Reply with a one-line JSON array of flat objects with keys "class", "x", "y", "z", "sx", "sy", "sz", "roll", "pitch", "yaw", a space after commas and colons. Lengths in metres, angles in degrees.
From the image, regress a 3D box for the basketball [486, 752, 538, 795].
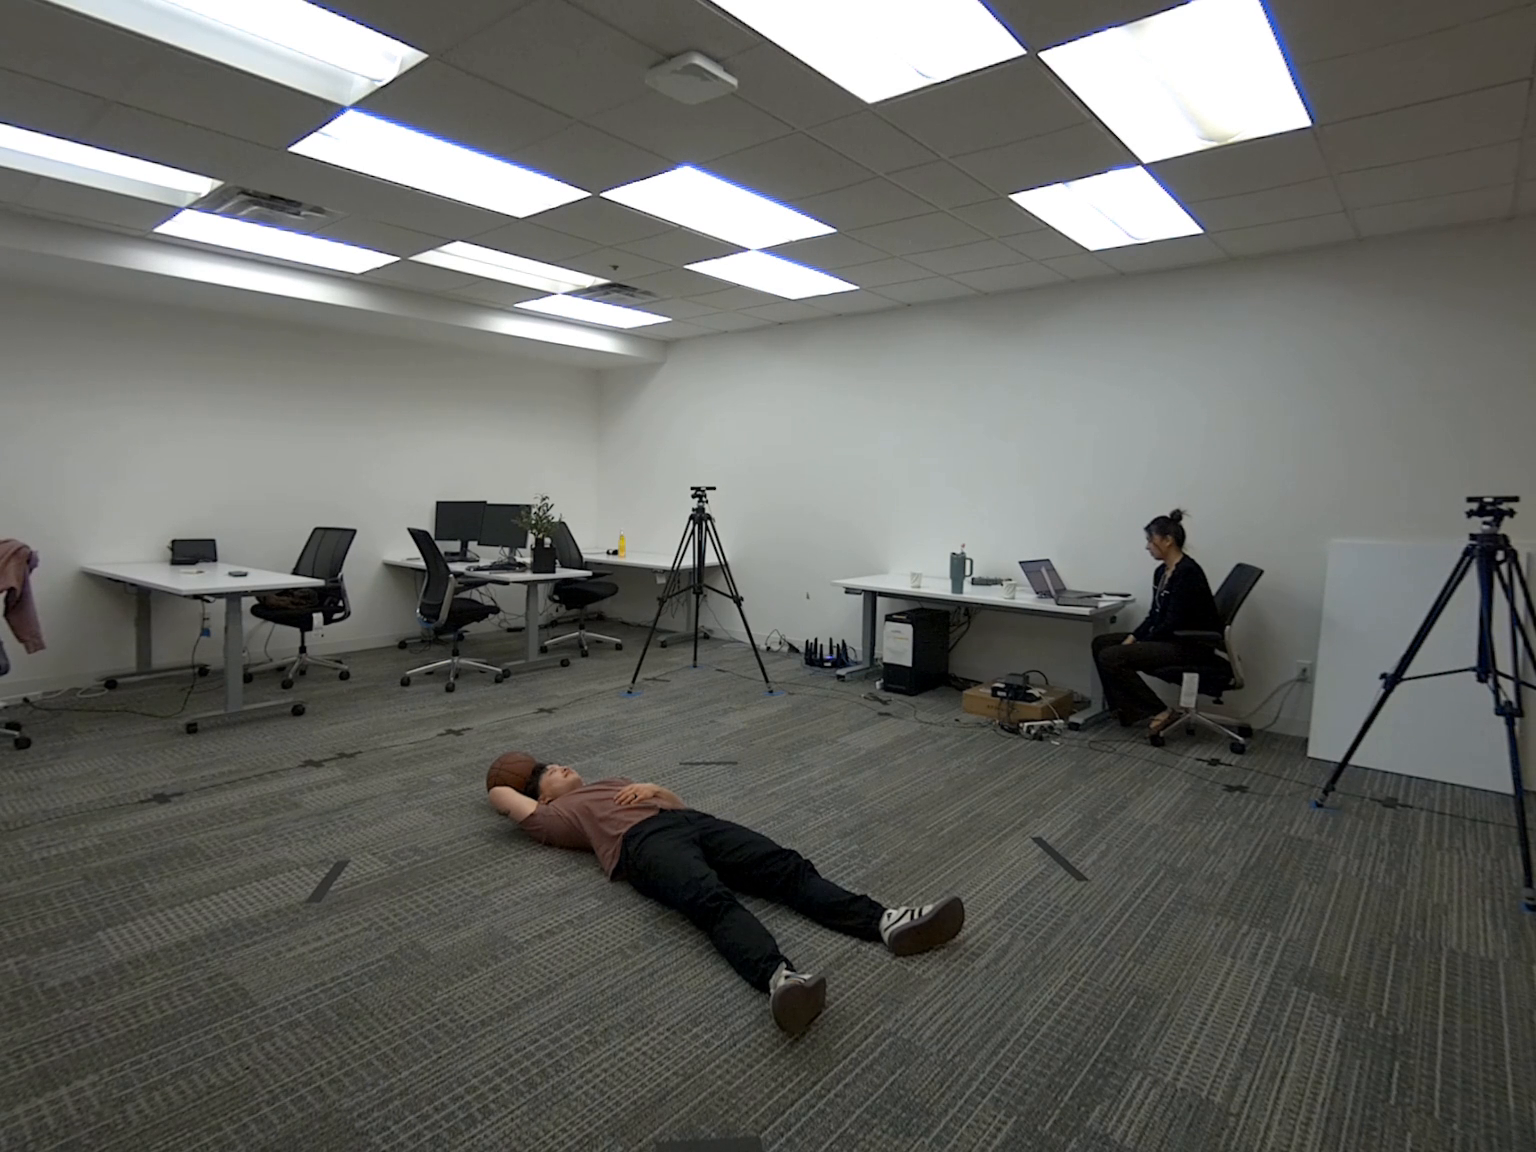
[{"class": "basketball", "x": -1.106, "y": 0.871, "z": 3.666, "sx": 0.235, "sy": 0.235, "sz": 0.237, "roll": 1, "pitch": 5, "yaw": -2}]
